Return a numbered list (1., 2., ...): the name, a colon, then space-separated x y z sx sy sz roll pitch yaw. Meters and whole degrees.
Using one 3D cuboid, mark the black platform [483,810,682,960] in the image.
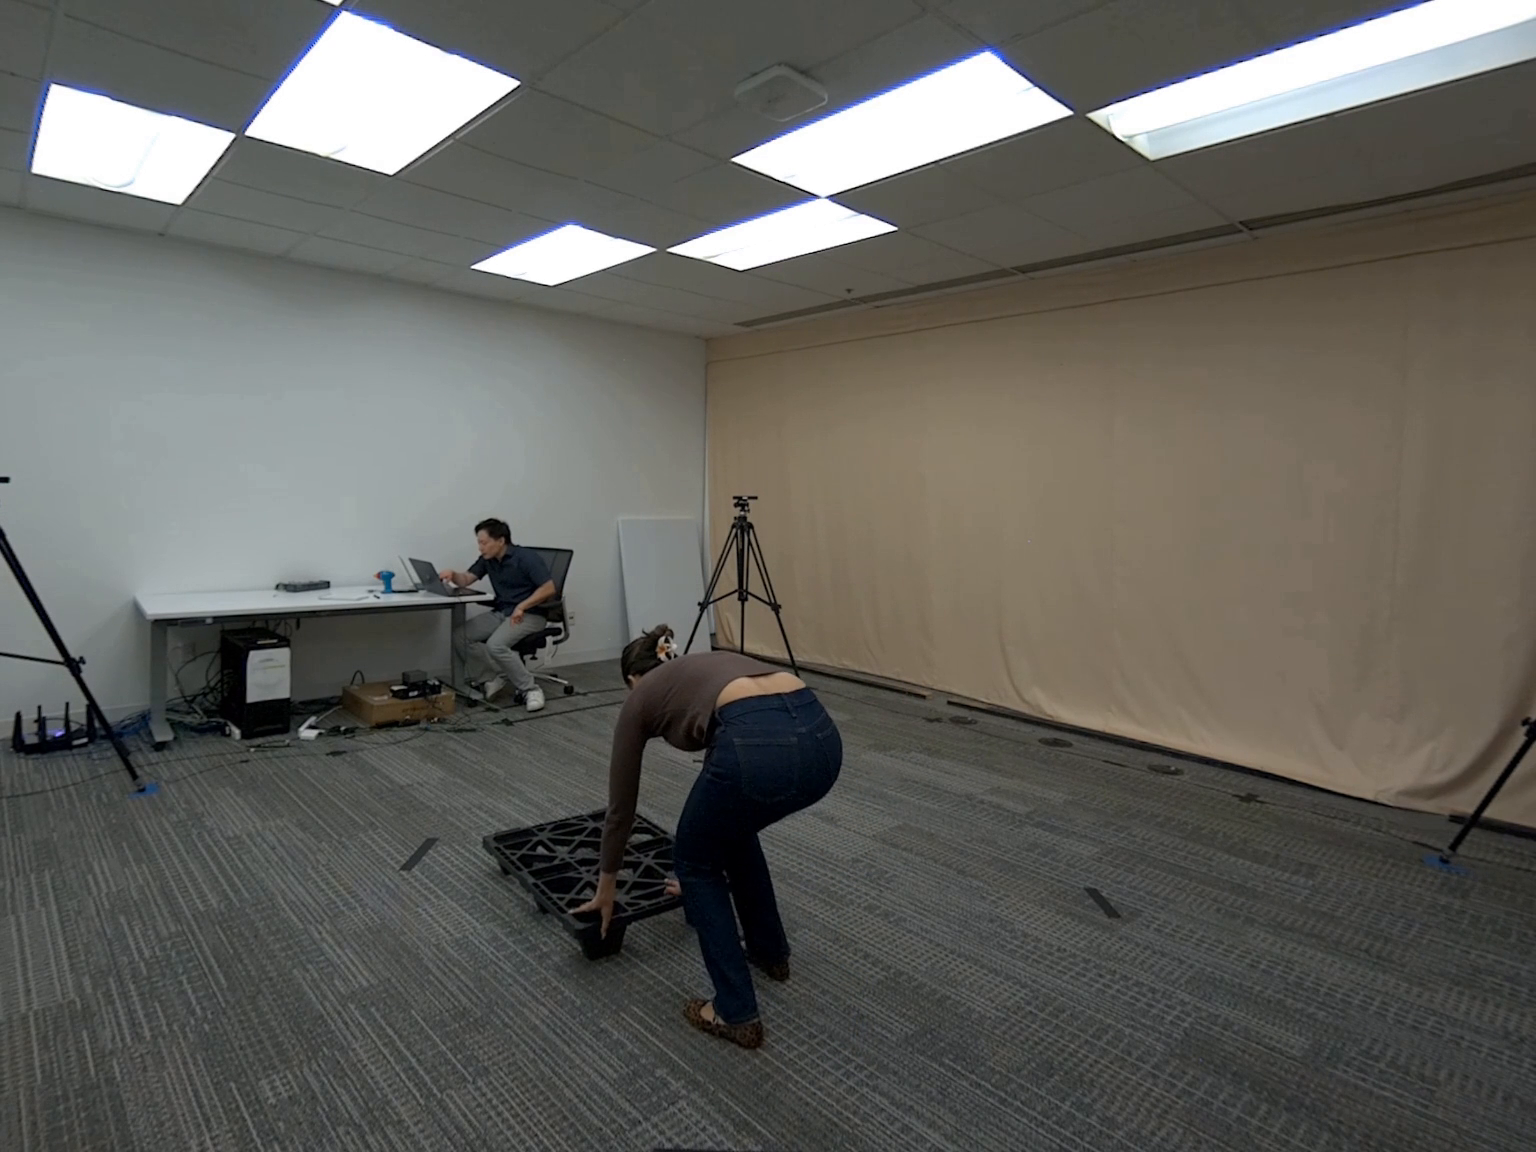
1. black platform: -0.576 1.043 2.930 0.592 0.143 0.826 -4 7 -37
